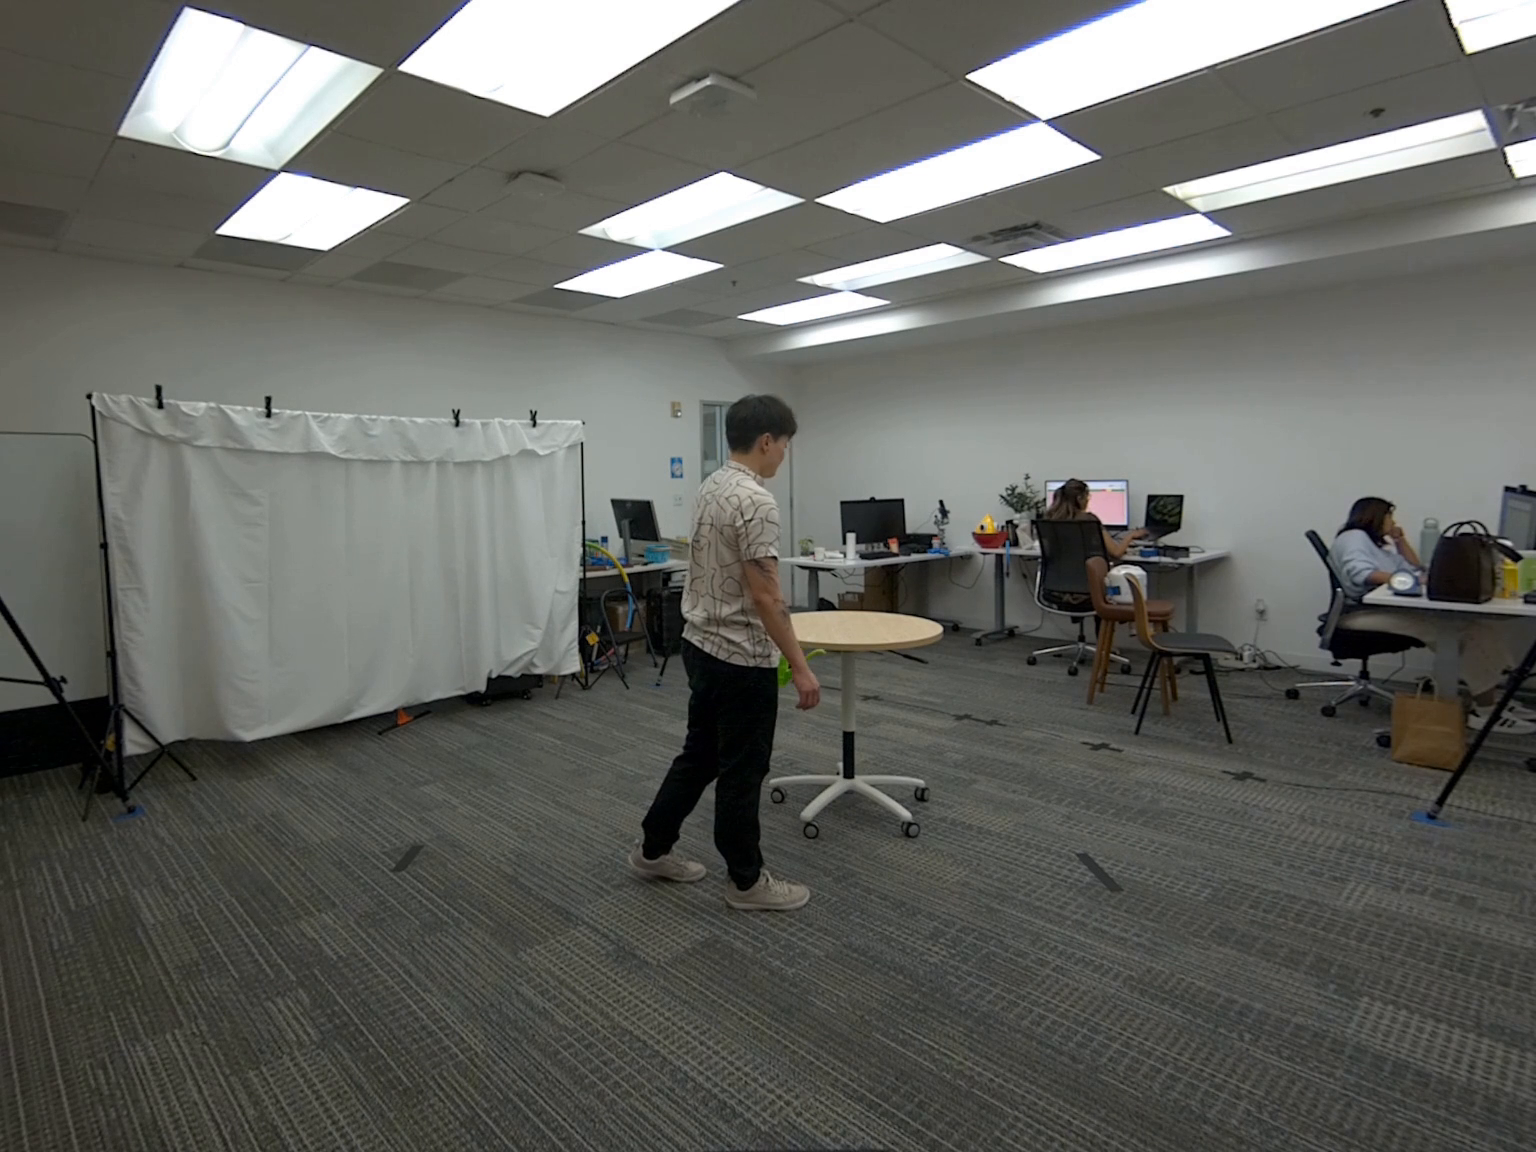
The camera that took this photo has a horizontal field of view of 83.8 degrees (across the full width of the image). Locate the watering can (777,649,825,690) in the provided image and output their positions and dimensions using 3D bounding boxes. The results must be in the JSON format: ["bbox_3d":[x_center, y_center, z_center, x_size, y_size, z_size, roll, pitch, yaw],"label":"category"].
[{"bbox_3d":[0.054,0.312,3.053,0.287,0.175,0.095,15,13,34],"label":"watering can"}]
